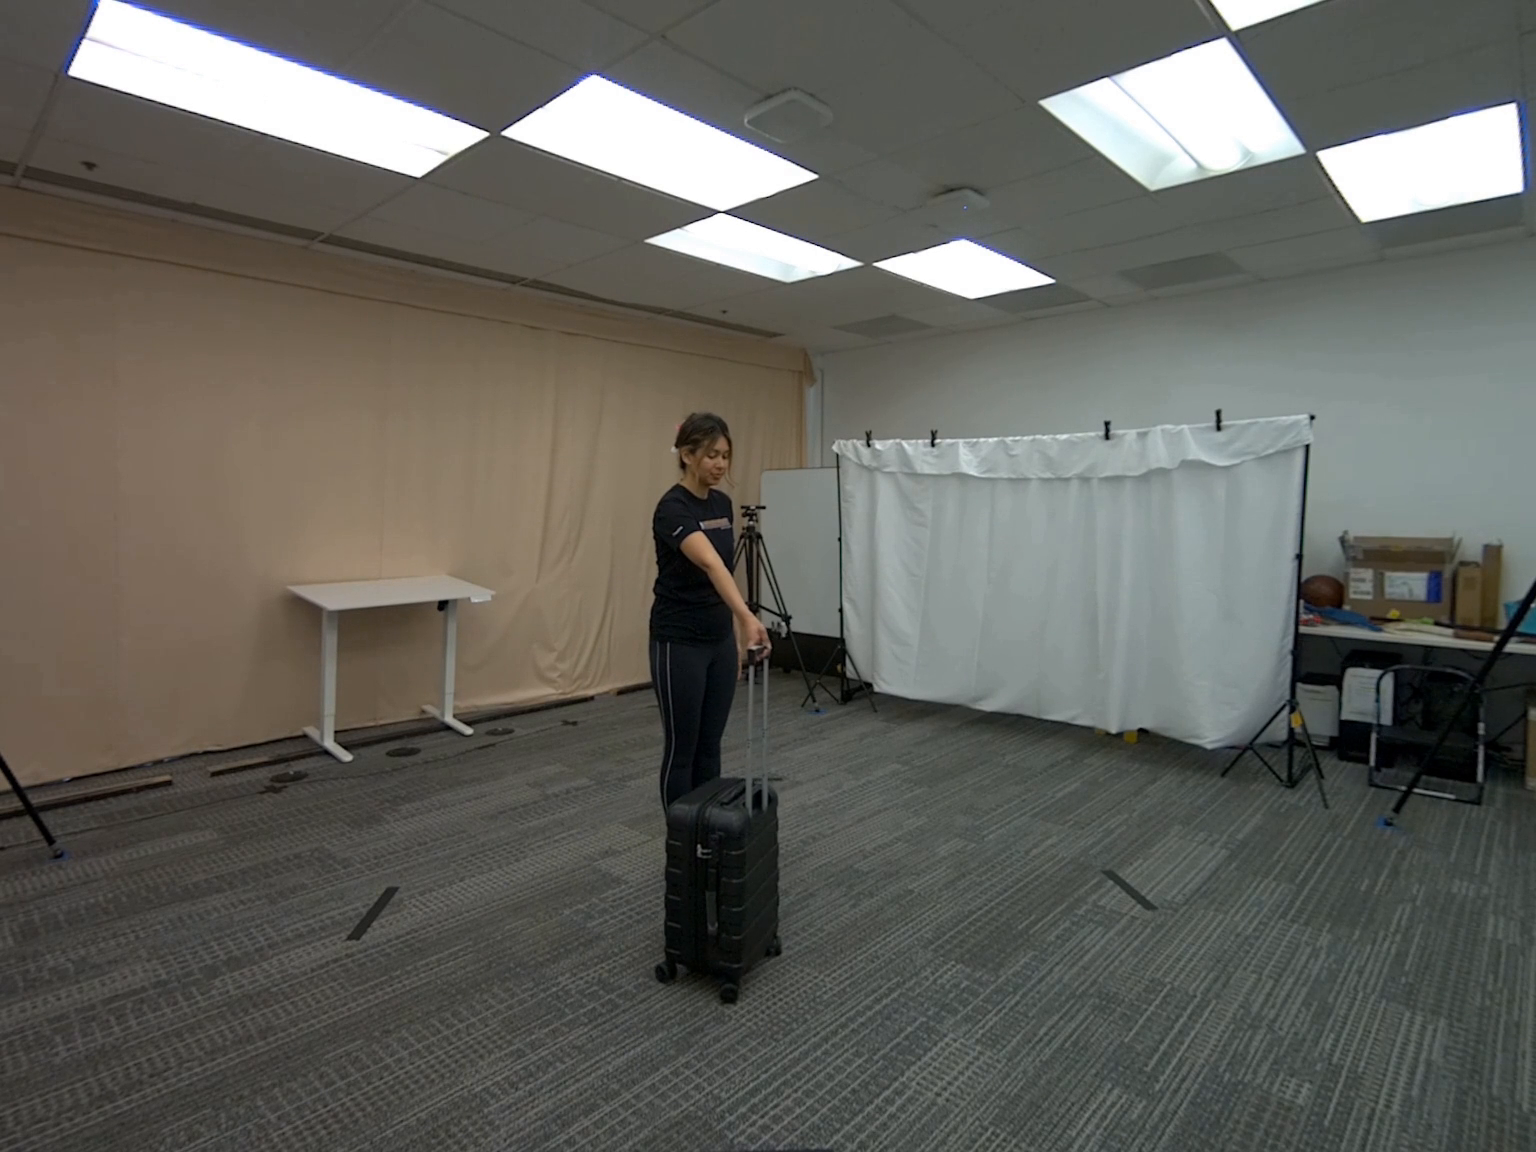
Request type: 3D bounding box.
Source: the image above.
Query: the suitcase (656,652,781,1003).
[{"bbox_3d":[-0.130,0.708,2.522,0.263,0.977,0.376,-1,2,22],"label":"suitcase"}]
